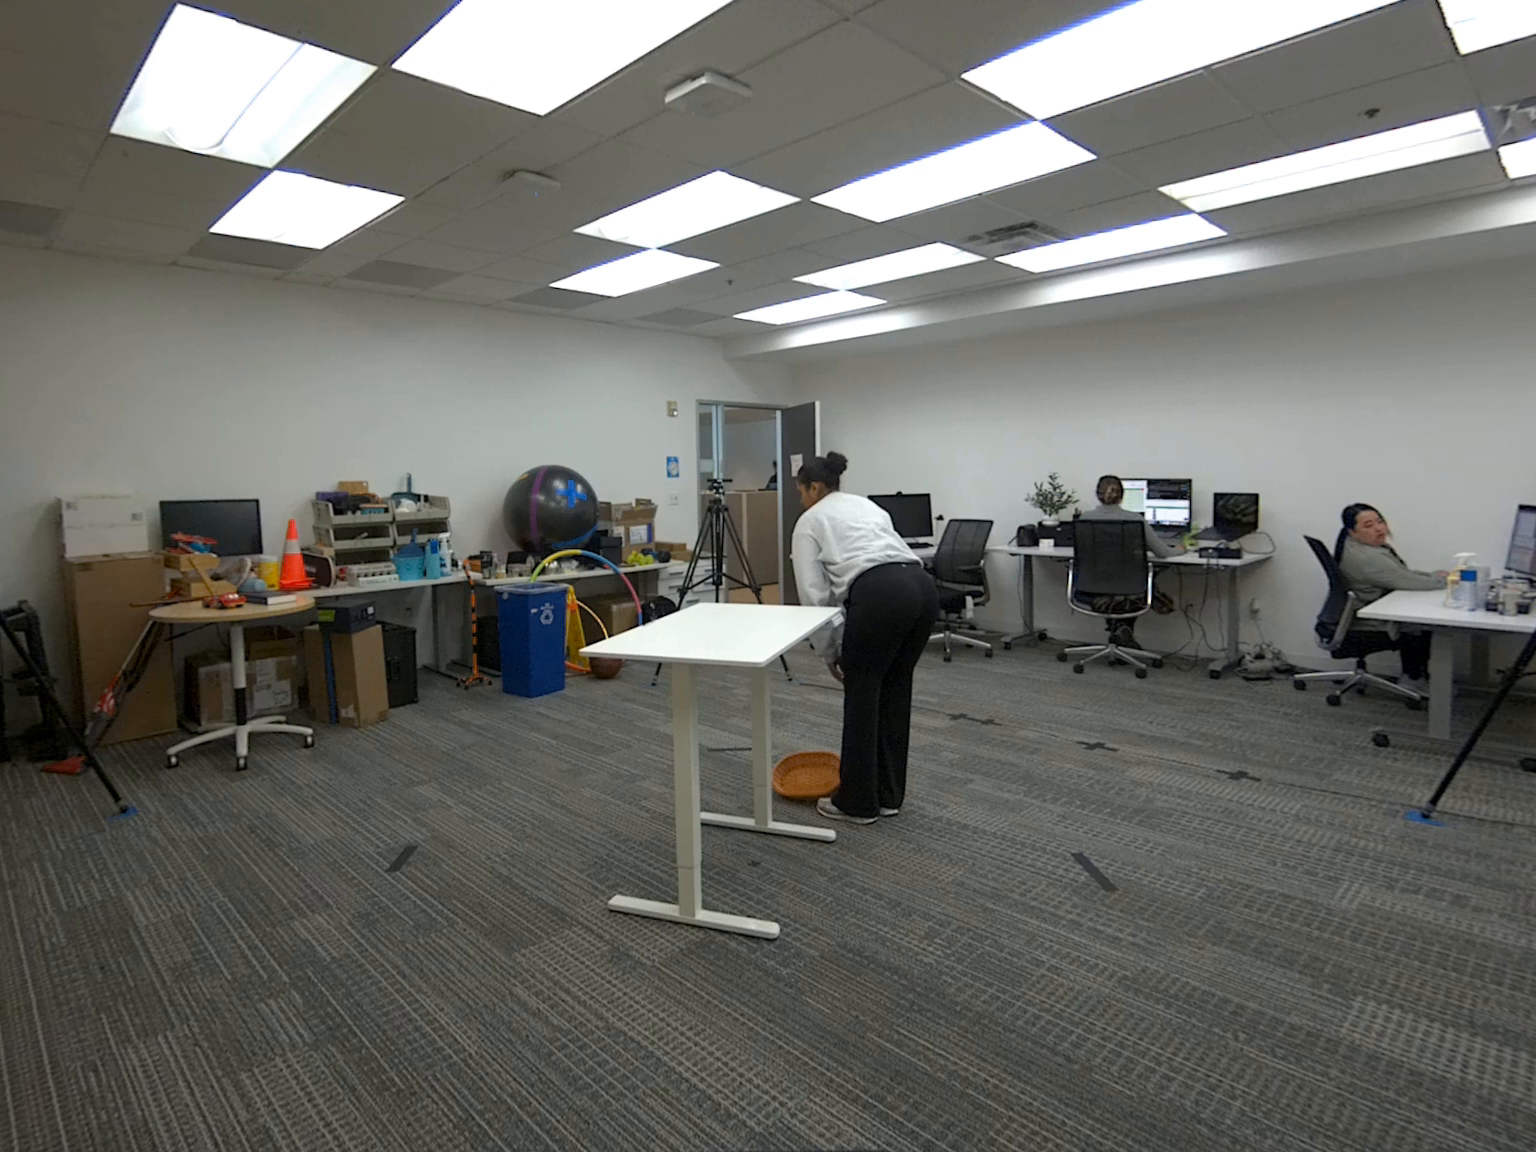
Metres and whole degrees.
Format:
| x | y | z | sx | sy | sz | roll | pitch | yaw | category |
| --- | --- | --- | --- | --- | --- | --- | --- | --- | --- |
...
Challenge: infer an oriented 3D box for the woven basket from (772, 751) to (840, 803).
| x | y | z | sx | sy | sz | roll | pitch | yaw | category |
| --- | --- | --- | --- | --- | --- | --- | --- | --- | --- |
| 0.195 | 0.899 | 3.768 | 0.357 | 0.071 | 0.255 | -5 | 31 | 22 | woven basket |
